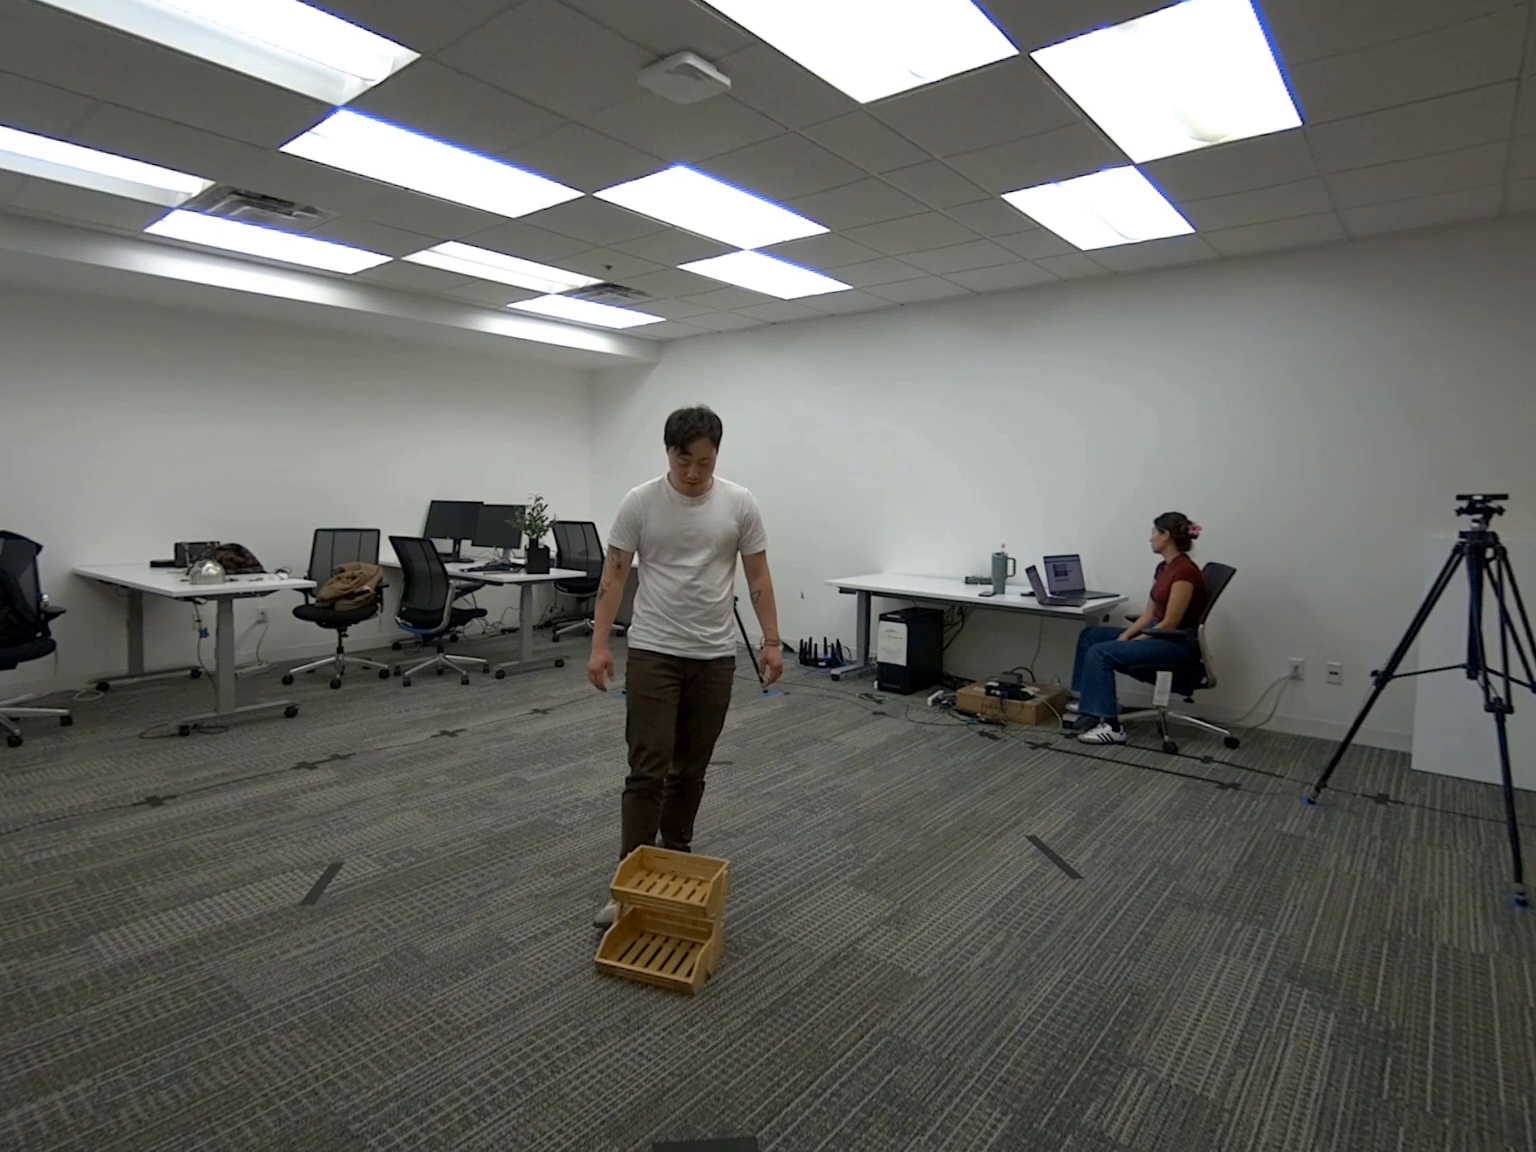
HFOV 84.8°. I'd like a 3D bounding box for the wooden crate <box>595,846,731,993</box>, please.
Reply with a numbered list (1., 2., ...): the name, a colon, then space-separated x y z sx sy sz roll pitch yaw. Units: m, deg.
1. wooden crate: -0.310 0.992 2.492 0.331 0.272 0.297 2 5 18
